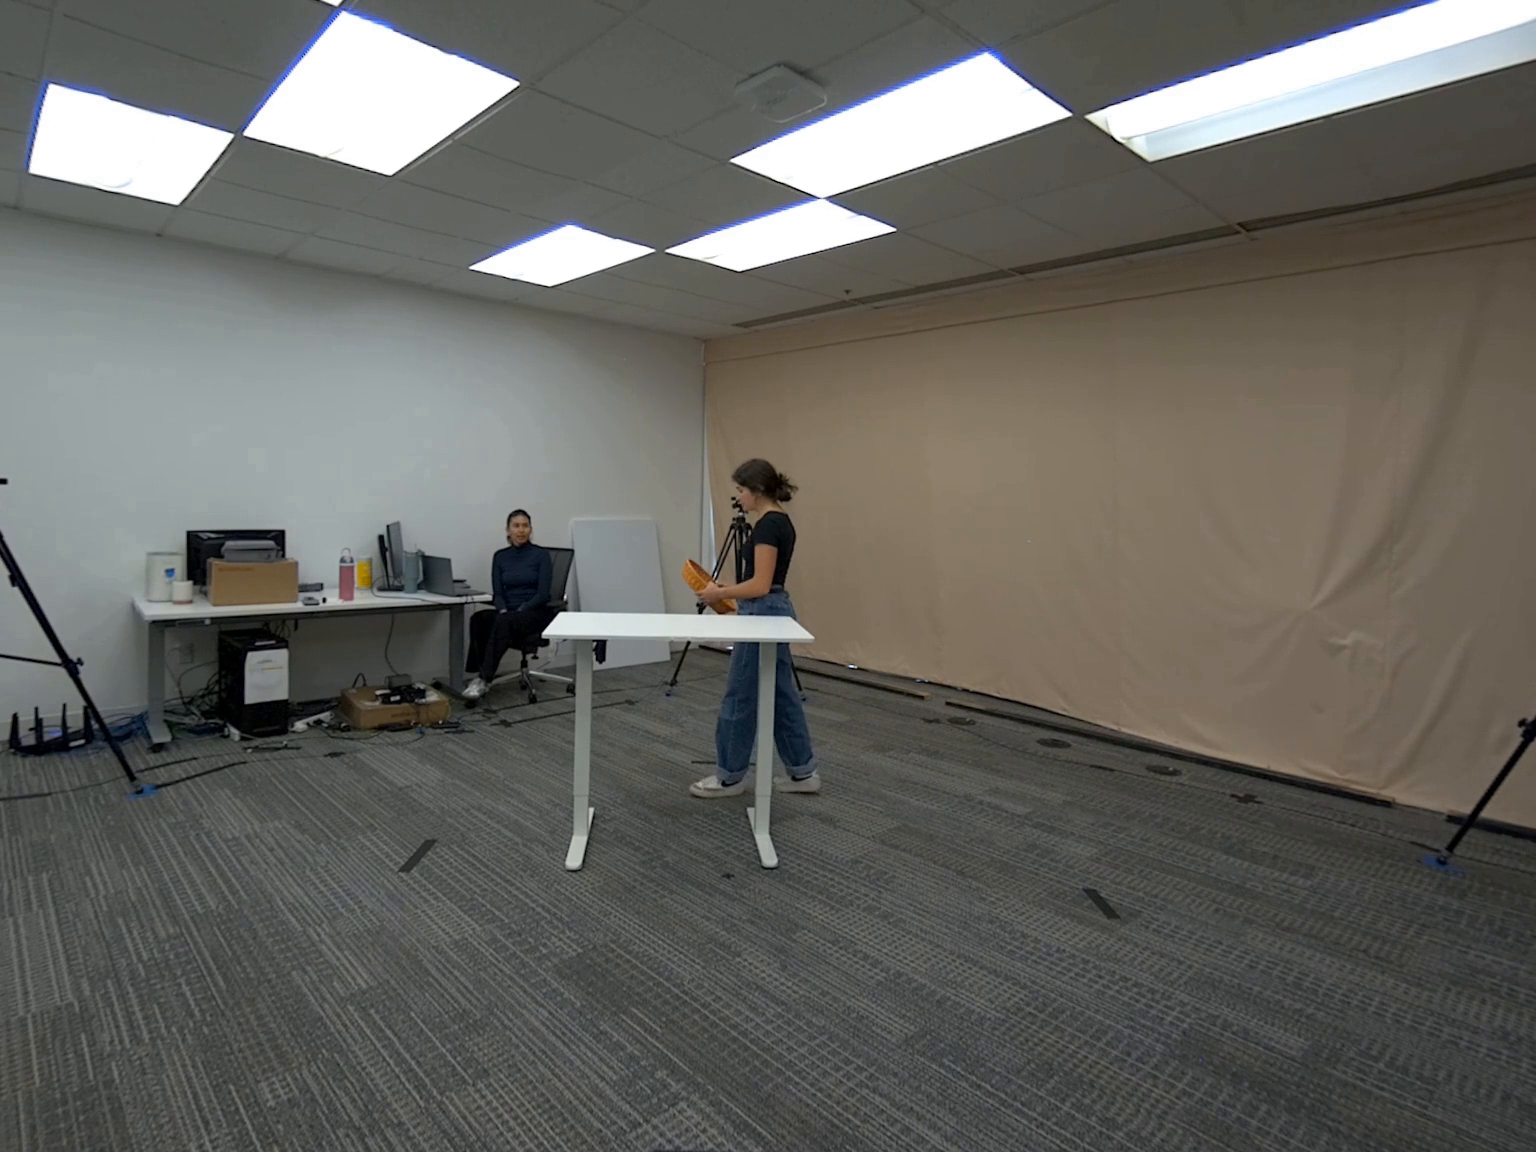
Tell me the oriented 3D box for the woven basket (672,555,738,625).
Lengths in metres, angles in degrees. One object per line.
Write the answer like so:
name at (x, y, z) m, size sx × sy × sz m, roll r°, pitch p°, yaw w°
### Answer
woven basket at (-0.290, 0.060, 4.038) m, size 0.351 × 0.073 × 0.252 m, roll 45°, pitch 5°, yaw 1°
